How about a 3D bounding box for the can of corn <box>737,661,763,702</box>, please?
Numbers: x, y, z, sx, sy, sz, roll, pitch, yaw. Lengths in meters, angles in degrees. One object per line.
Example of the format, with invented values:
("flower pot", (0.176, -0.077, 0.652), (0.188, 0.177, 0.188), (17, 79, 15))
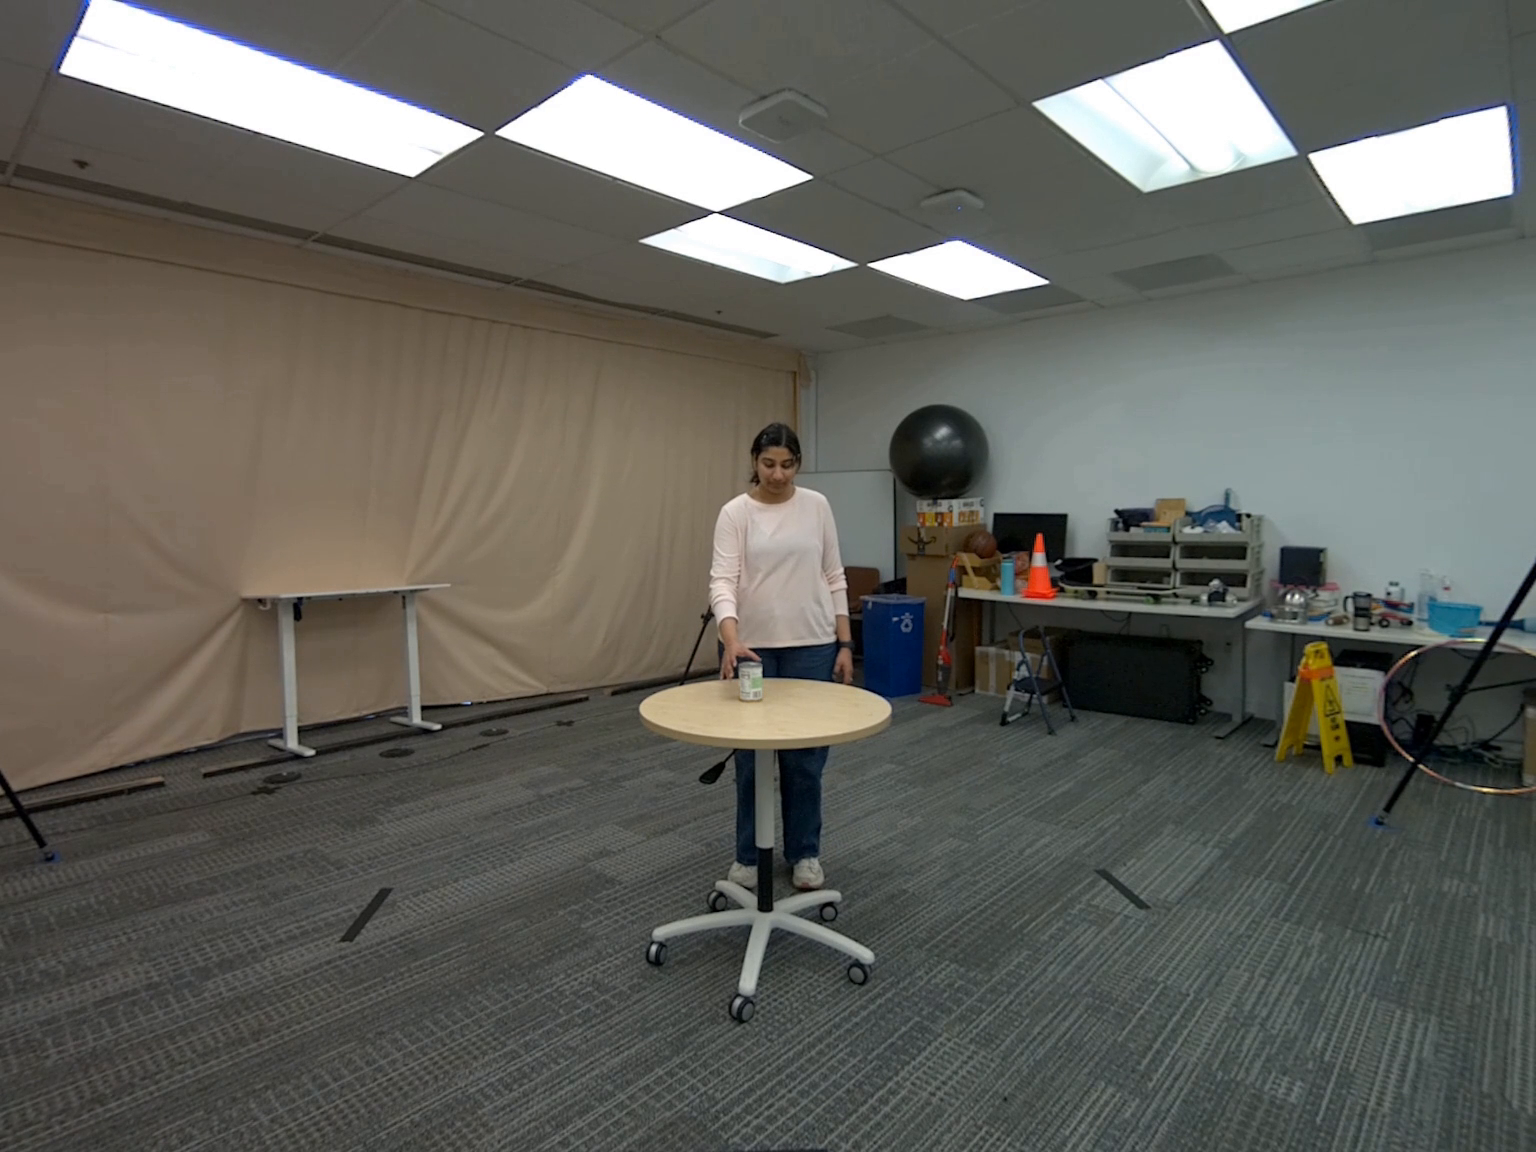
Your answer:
("can of corn", (-0.054, 0.332, 2.640), (0.074, 0.111, 0.074), (-2, 3, -2))
